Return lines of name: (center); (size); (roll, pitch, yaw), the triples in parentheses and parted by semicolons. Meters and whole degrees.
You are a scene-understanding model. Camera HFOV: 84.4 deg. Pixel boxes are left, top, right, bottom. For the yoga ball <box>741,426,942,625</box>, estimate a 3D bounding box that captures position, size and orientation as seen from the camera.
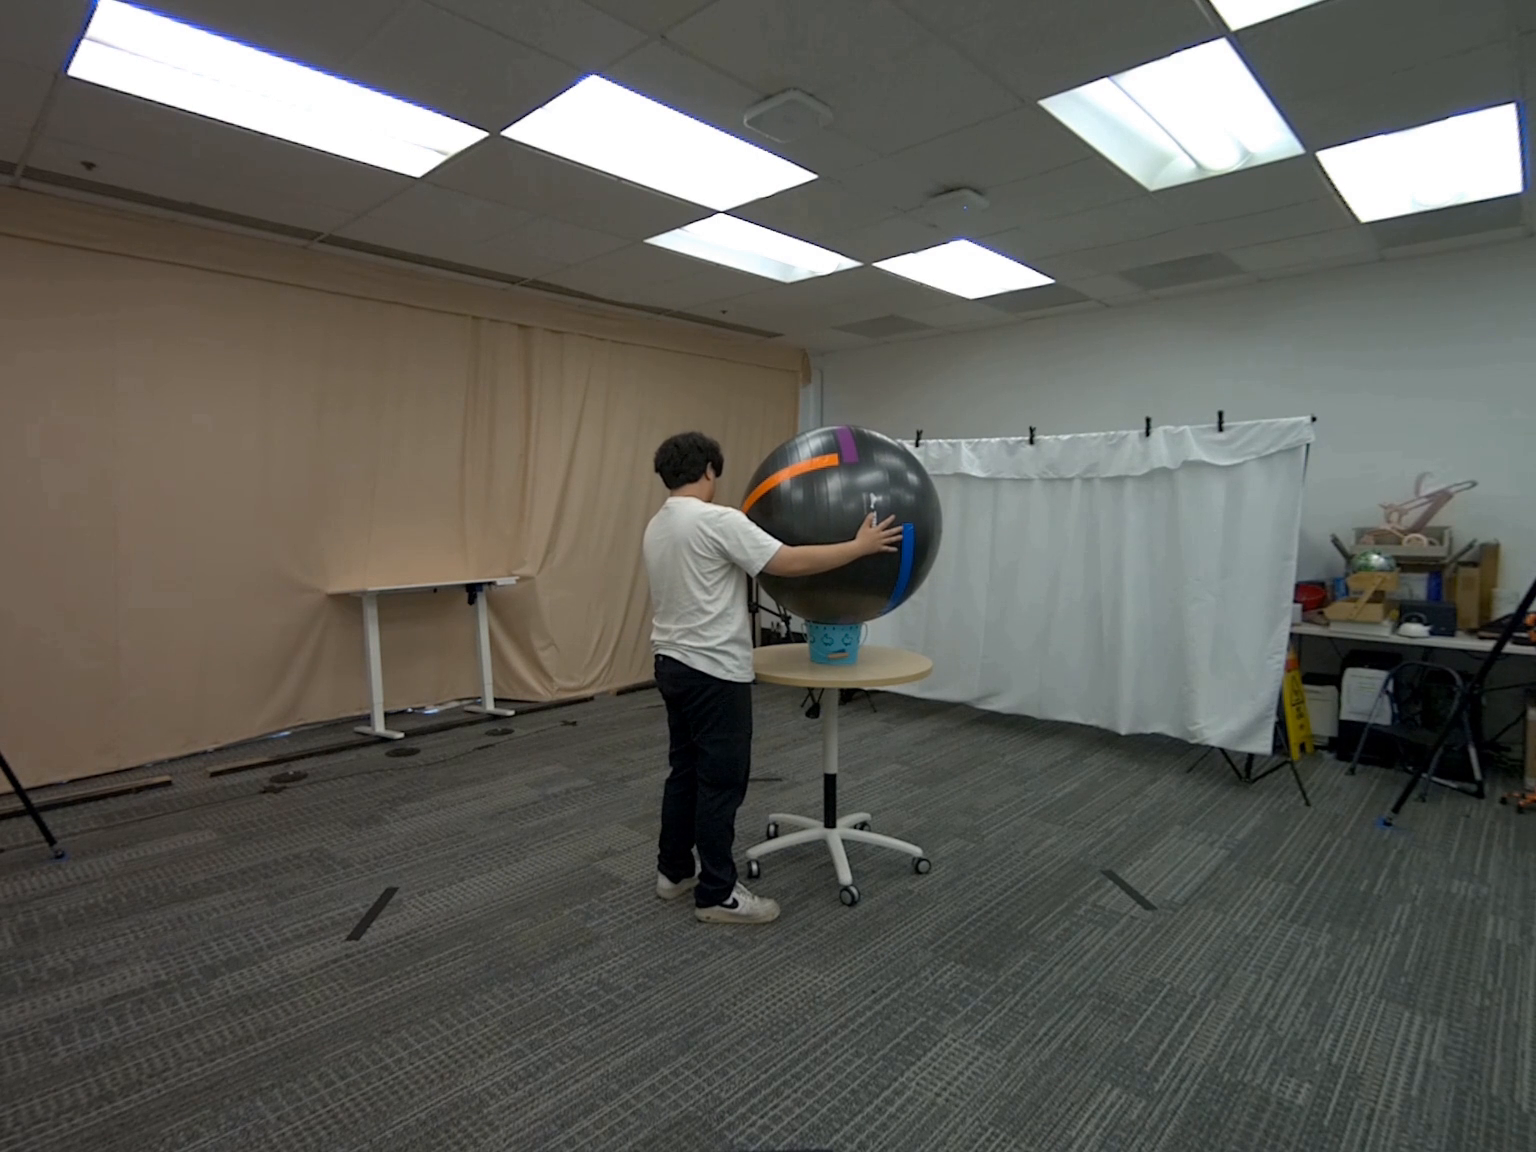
yoga ball: (0.273, -0.191, 3.214); (0.757, 0.756, 0.761); (0, 4, -2)
